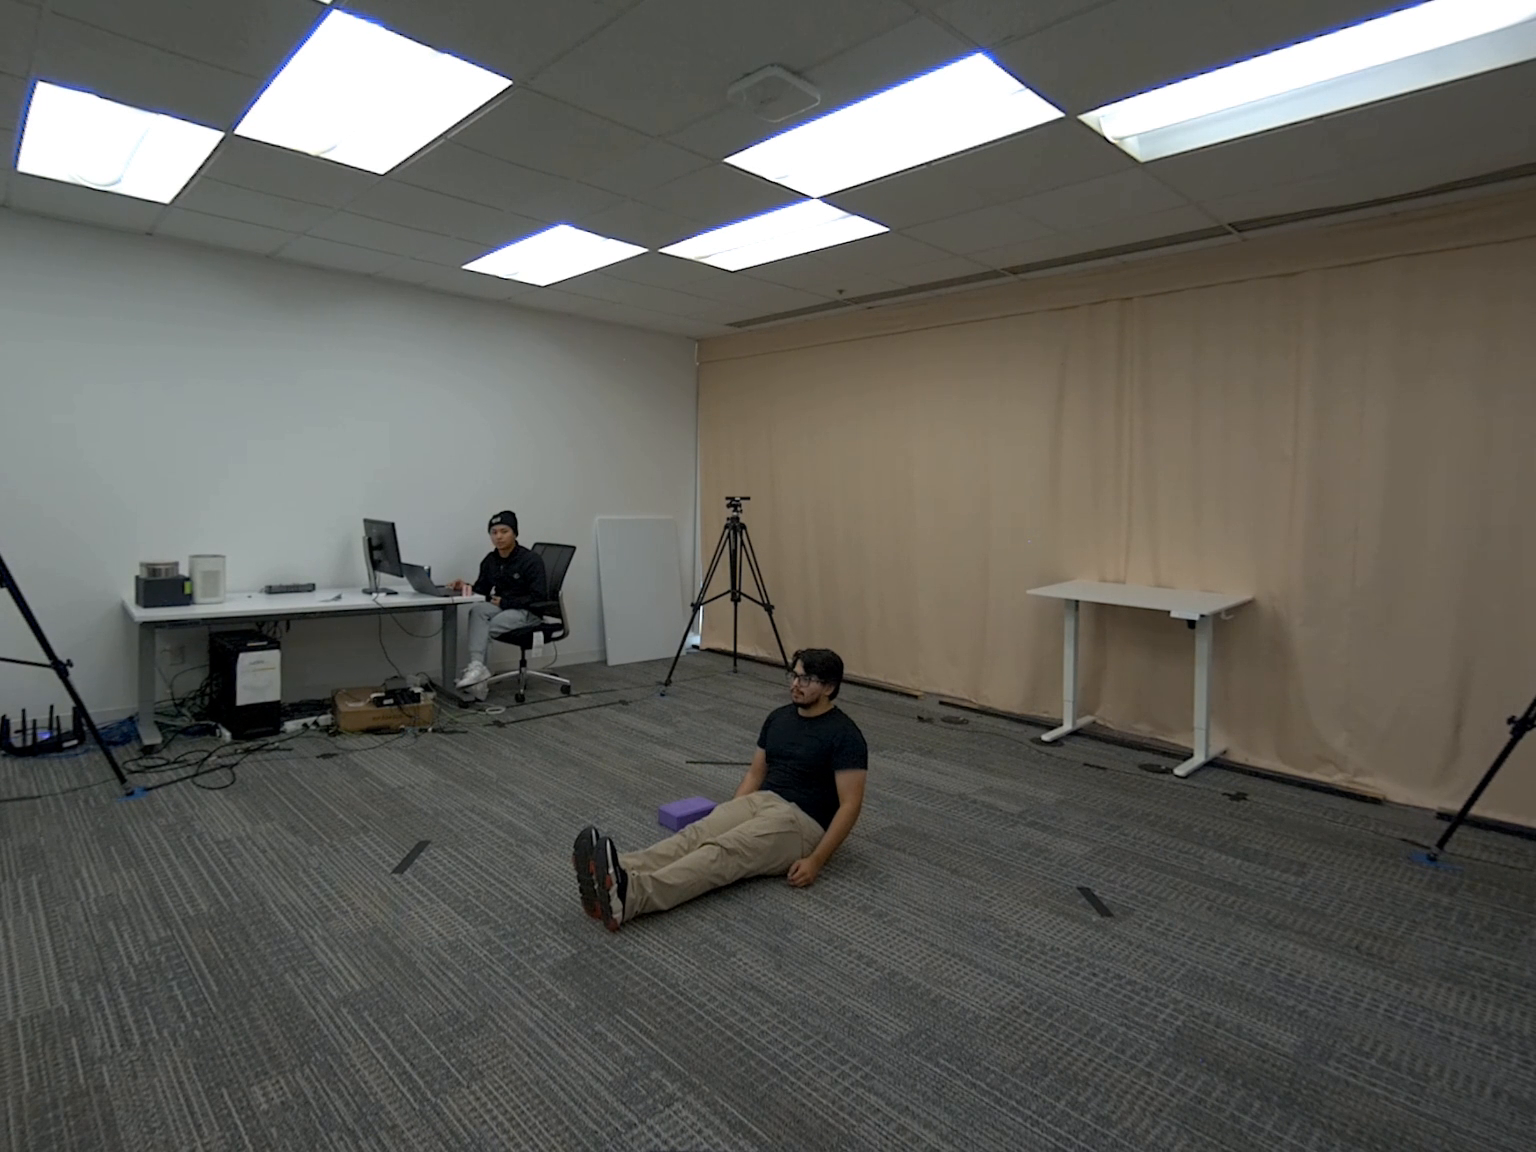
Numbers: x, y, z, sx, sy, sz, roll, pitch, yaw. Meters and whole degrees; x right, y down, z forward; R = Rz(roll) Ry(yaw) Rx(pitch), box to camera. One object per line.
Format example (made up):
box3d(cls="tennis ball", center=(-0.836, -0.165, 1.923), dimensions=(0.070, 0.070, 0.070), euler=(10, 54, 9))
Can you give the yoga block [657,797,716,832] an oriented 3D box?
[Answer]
box3d(cls="yoga block", center=(-0.344, 1.014, 3.611), dimensions=(0.224, 0.076, 0.153), euler=(-5, 7, -41))
